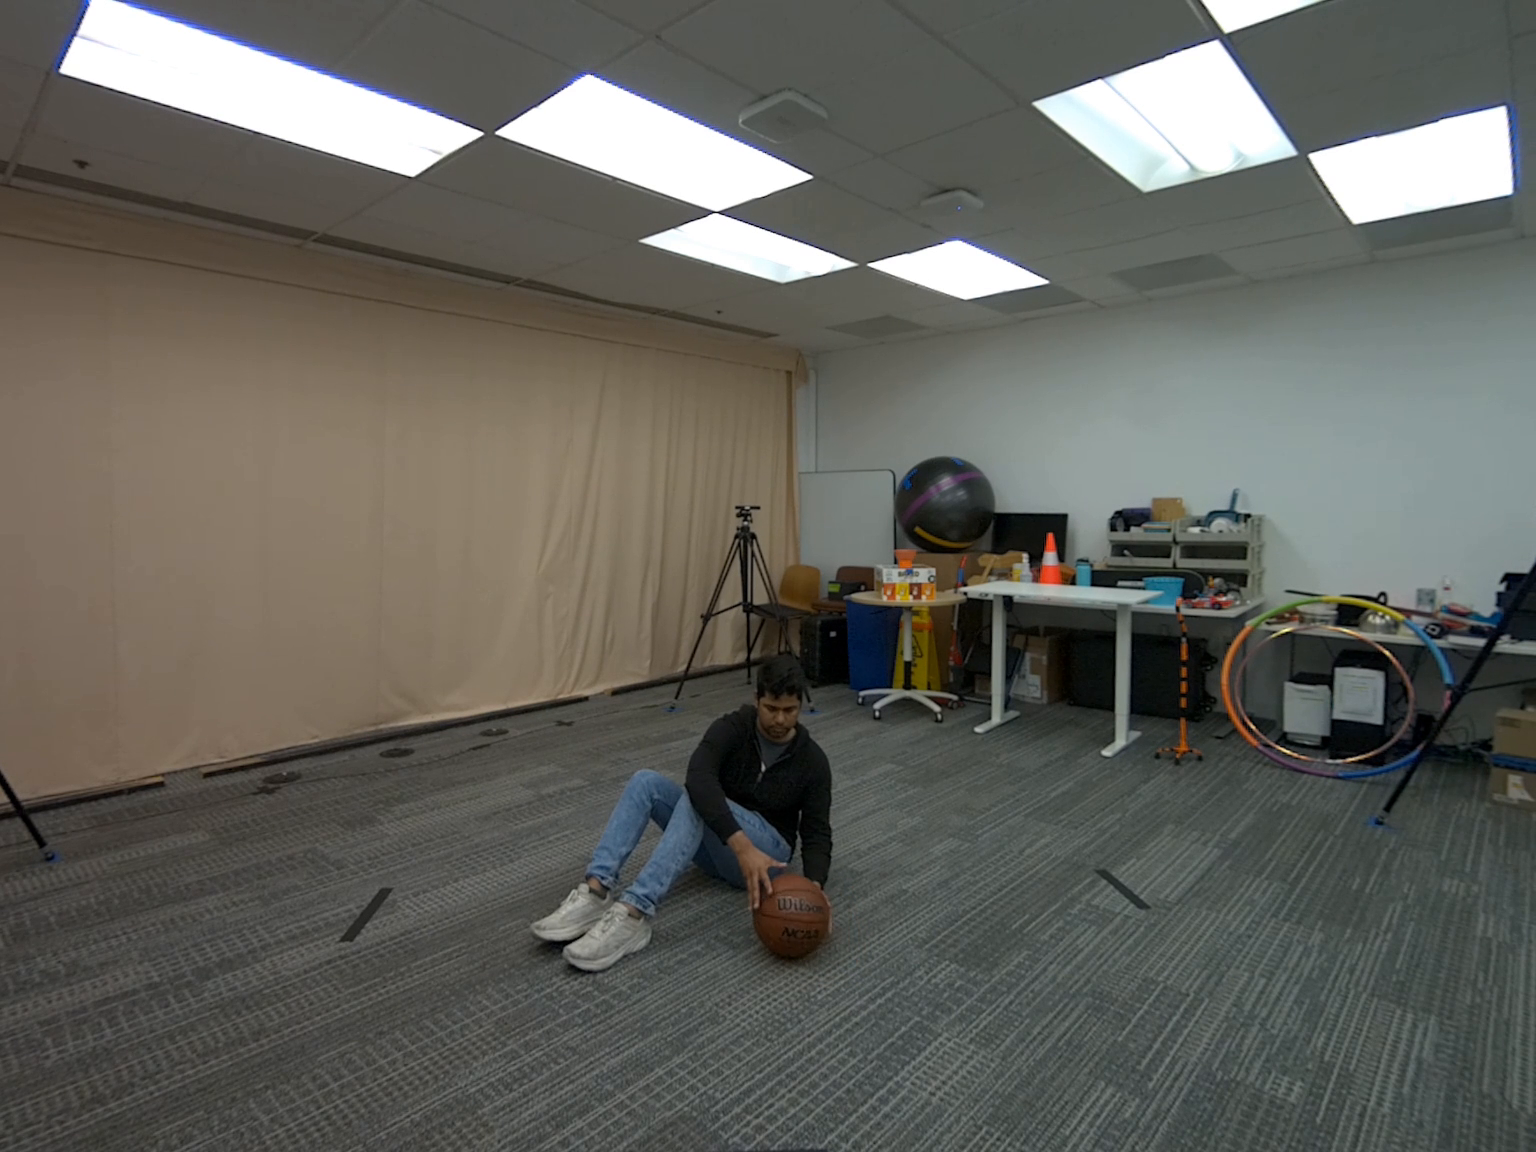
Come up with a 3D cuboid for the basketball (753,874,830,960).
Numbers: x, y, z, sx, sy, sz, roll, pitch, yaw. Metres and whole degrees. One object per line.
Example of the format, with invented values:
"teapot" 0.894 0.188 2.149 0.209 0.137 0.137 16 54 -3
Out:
"basketball" 0.073 1.044 2.621 0.236 0.235 0.237 0 4 -2
